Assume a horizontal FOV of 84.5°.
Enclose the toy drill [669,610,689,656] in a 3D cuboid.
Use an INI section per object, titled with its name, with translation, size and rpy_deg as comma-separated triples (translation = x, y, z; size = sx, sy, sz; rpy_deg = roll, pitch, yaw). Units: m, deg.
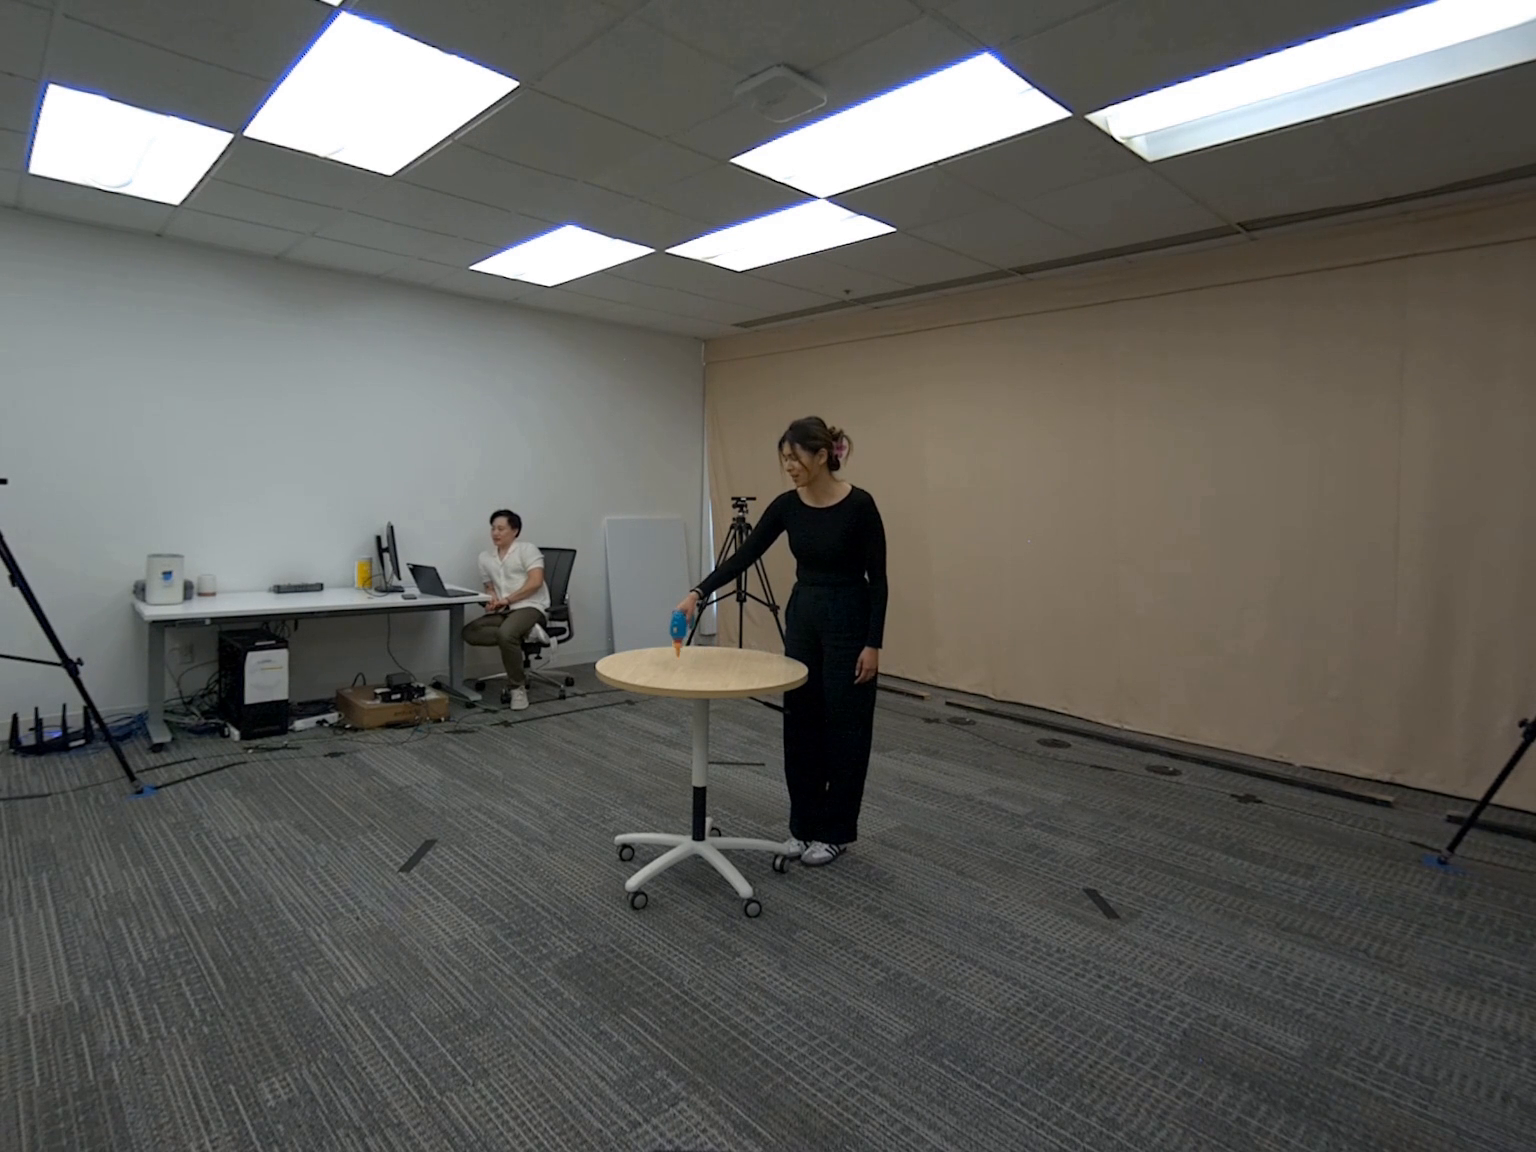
[toy drill]
translation = -0.317, 0.211, 3.061
size = 0.062, 0.170, 0.144
rpy_deg = -5, -1, 19
